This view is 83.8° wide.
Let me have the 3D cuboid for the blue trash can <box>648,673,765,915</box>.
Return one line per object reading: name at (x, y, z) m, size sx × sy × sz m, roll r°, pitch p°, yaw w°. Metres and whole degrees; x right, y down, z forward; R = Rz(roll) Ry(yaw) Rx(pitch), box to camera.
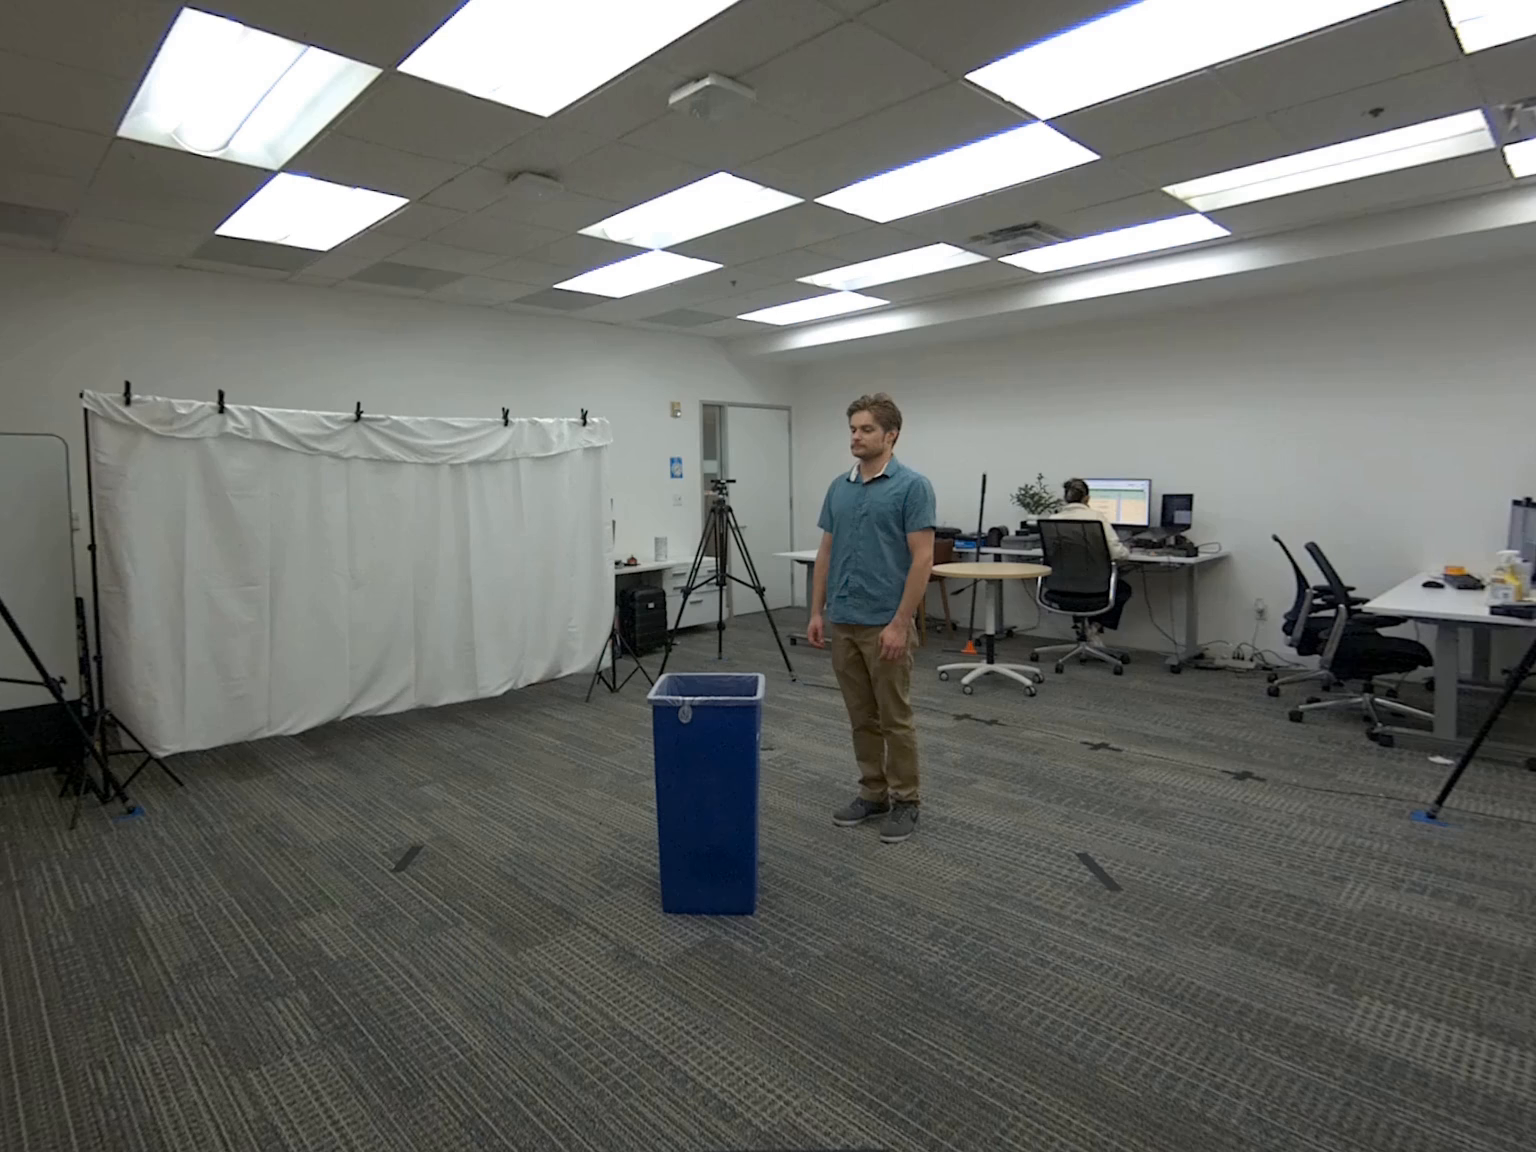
blue trash can at (-0.181, 0.720, 2.879) m, size 0.375 × 0.711 × 0.378 m, roll -1°, pitch 4°, yaw 3°
